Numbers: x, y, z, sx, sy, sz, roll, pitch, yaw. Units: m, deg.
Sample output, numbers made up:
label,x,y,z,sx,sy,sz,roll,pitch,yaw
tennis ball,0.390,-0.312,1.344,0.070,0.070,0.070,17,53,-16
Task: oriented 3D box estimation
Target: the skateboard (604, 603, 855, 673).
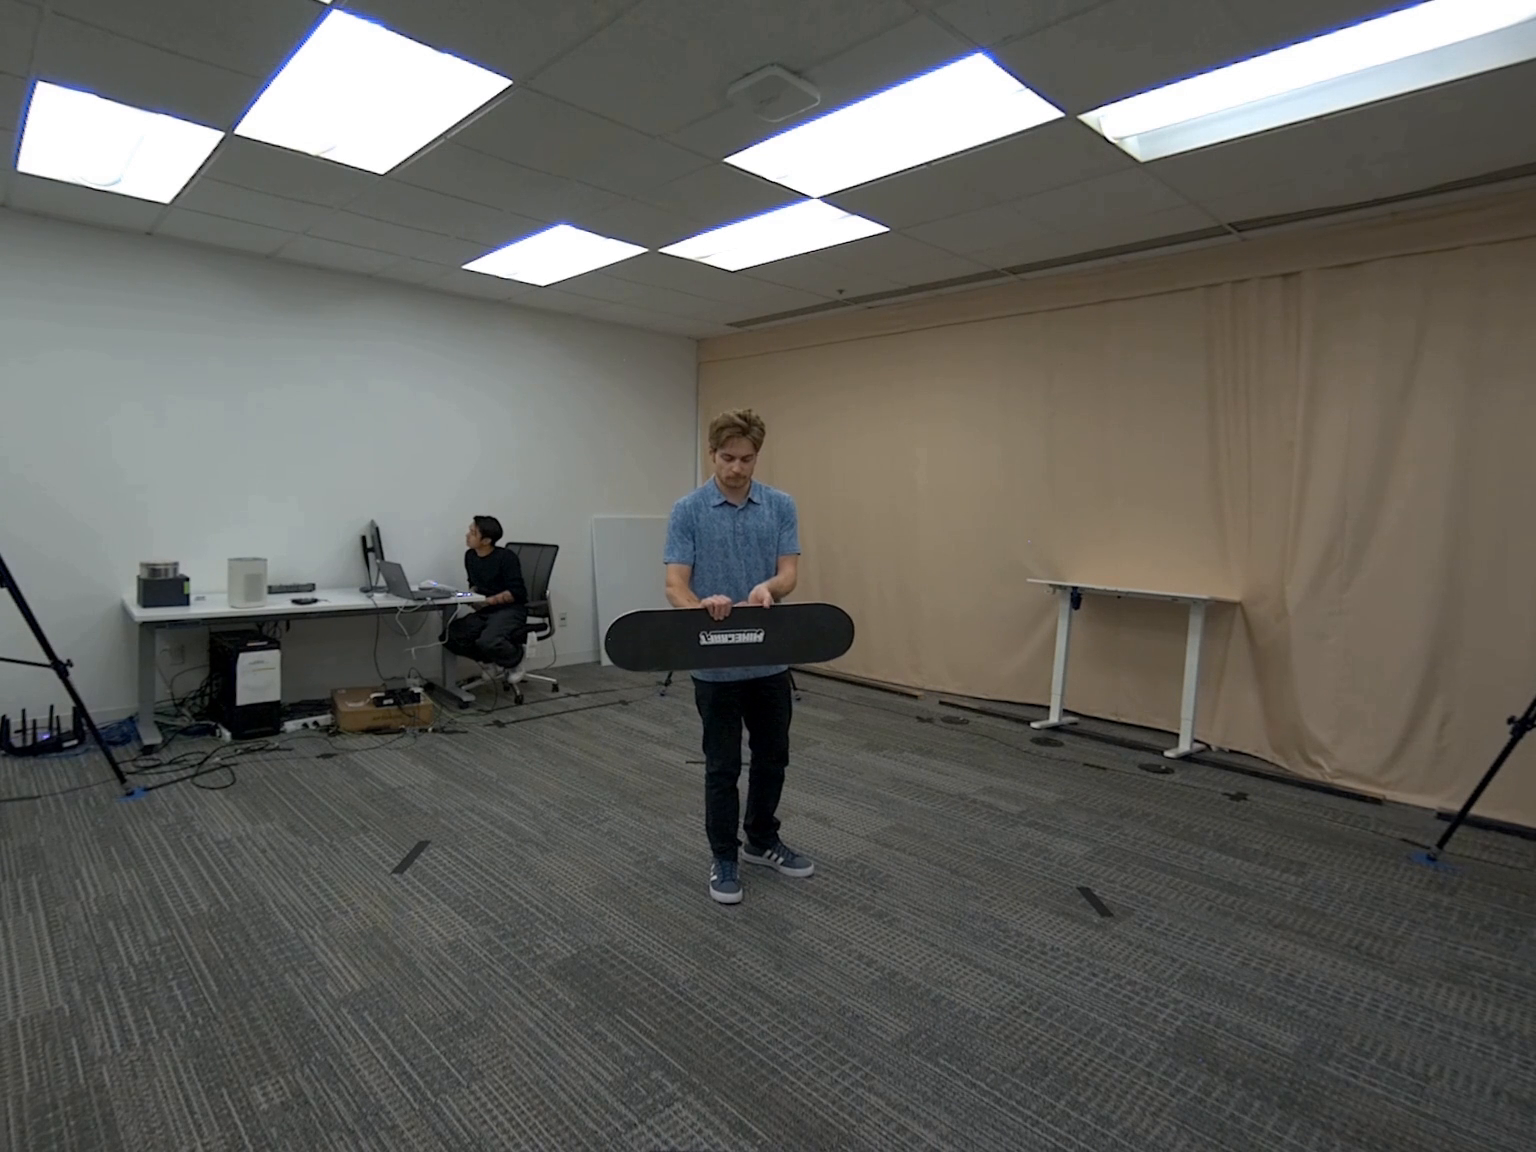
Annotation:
label,x,y,z,sx,sy,sz,roll,pitch,yaw
skateboard,-0.118,0.192,2.651,0.780,0.194,0.110,-3,-5,-9
